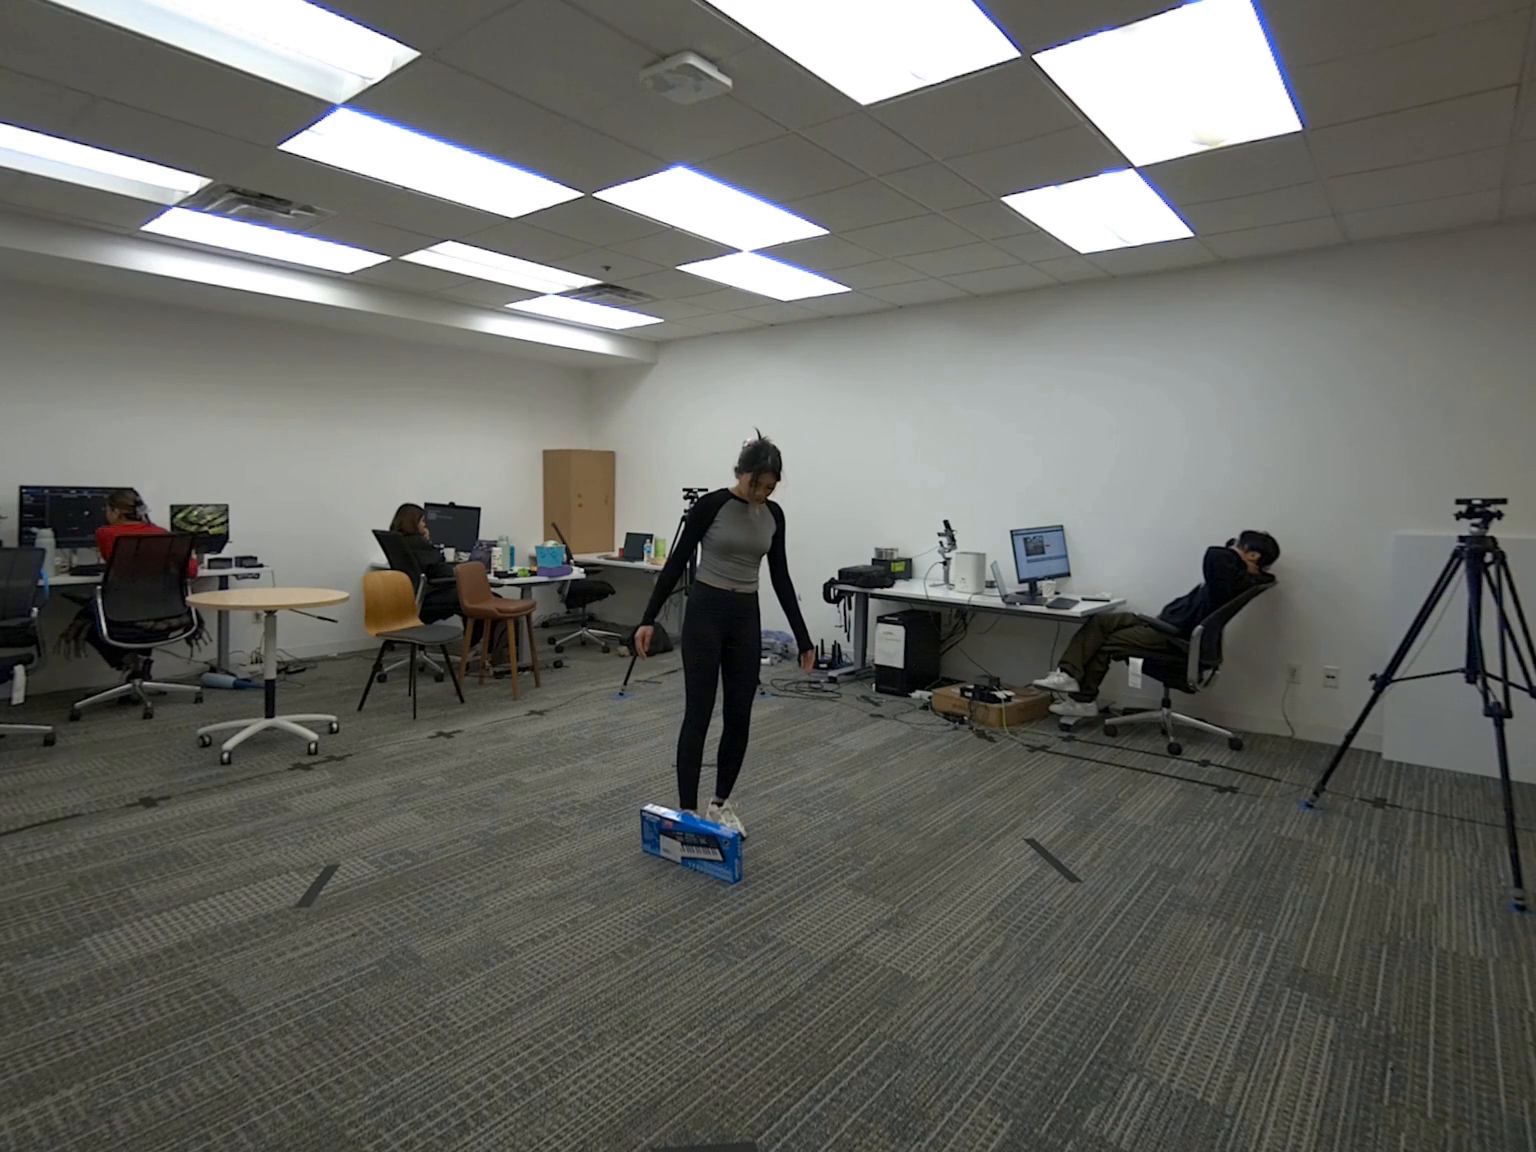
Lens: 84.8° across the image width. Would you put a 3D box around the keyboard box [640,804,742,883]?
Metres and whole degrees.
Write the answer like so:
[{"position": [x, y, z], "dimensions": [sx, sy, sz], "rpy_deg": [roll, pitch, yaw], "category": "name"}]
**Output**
[{"position": [-0.301, 0.979, 3.136], "dimensions": [0.451, 0.175, 0.058], "rpy_deg": [4, 9, 35], "category": "keyboard box"}]
